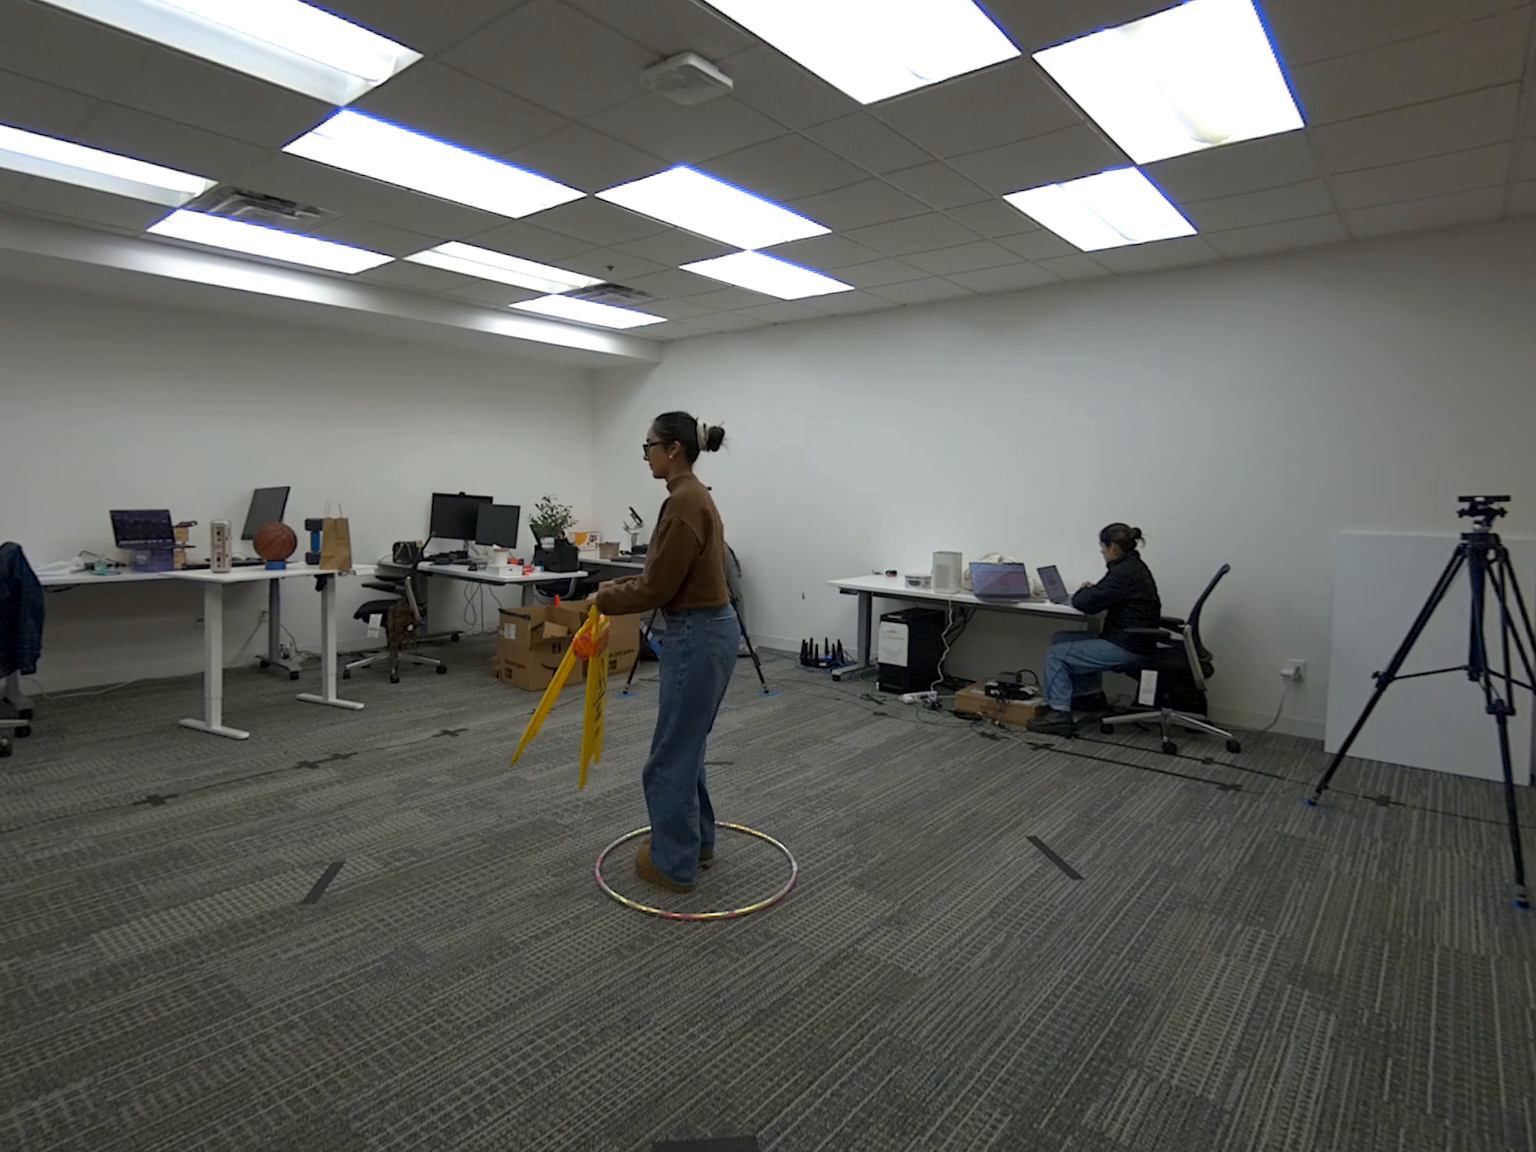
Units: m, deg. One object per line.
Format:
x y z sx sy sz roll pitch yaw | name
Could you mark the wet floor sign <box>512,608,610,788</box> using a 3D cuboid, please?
-0.677 0.381 3.066 0.290 0.643 0.283 17 8 0 | wet floor sign
